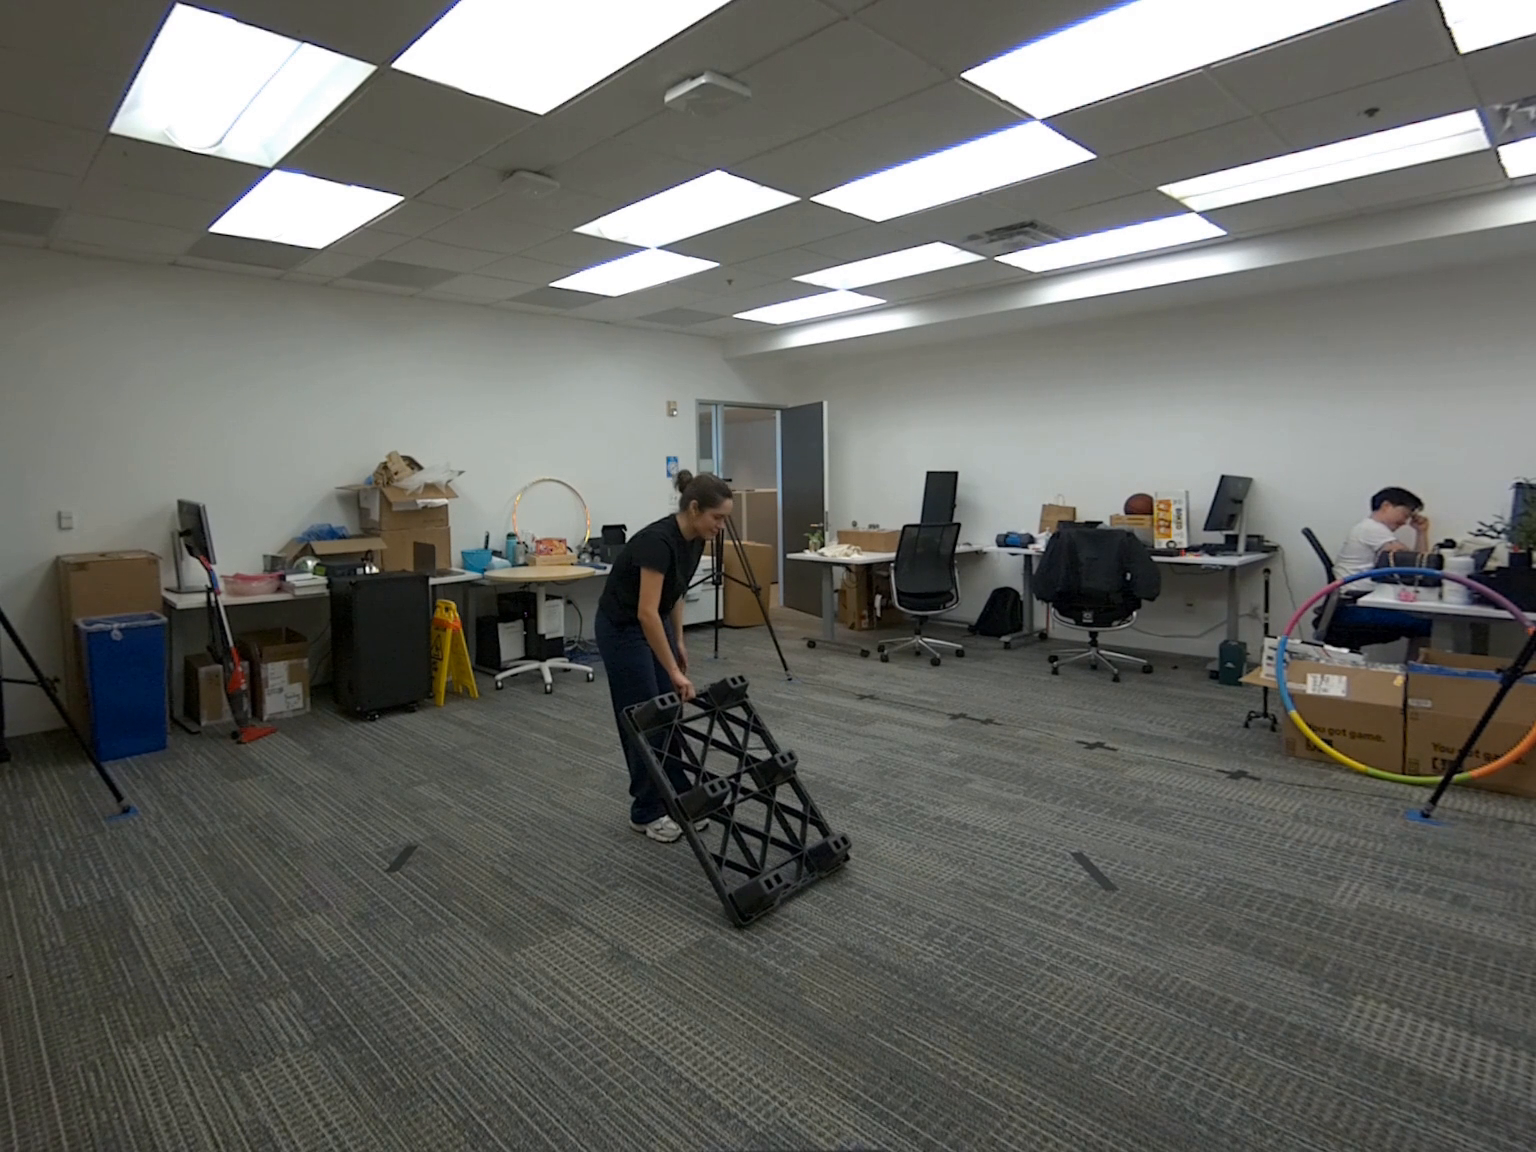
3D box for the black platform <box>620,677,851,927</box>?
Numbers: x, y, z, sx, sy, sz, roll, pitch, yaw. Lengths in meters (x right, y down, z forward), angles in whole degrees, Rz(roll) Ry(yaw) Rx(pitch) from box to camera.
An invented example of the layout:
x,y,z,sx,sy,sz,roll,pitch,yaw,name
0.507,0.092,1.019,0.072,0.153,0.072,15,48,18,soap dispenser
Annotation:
x,y,z,sx,sy,sz,roll,pitch,yaw,name
-0.085,0.719,3.013,0.590,0.829,0.143,-7,-36,-48,black platform
